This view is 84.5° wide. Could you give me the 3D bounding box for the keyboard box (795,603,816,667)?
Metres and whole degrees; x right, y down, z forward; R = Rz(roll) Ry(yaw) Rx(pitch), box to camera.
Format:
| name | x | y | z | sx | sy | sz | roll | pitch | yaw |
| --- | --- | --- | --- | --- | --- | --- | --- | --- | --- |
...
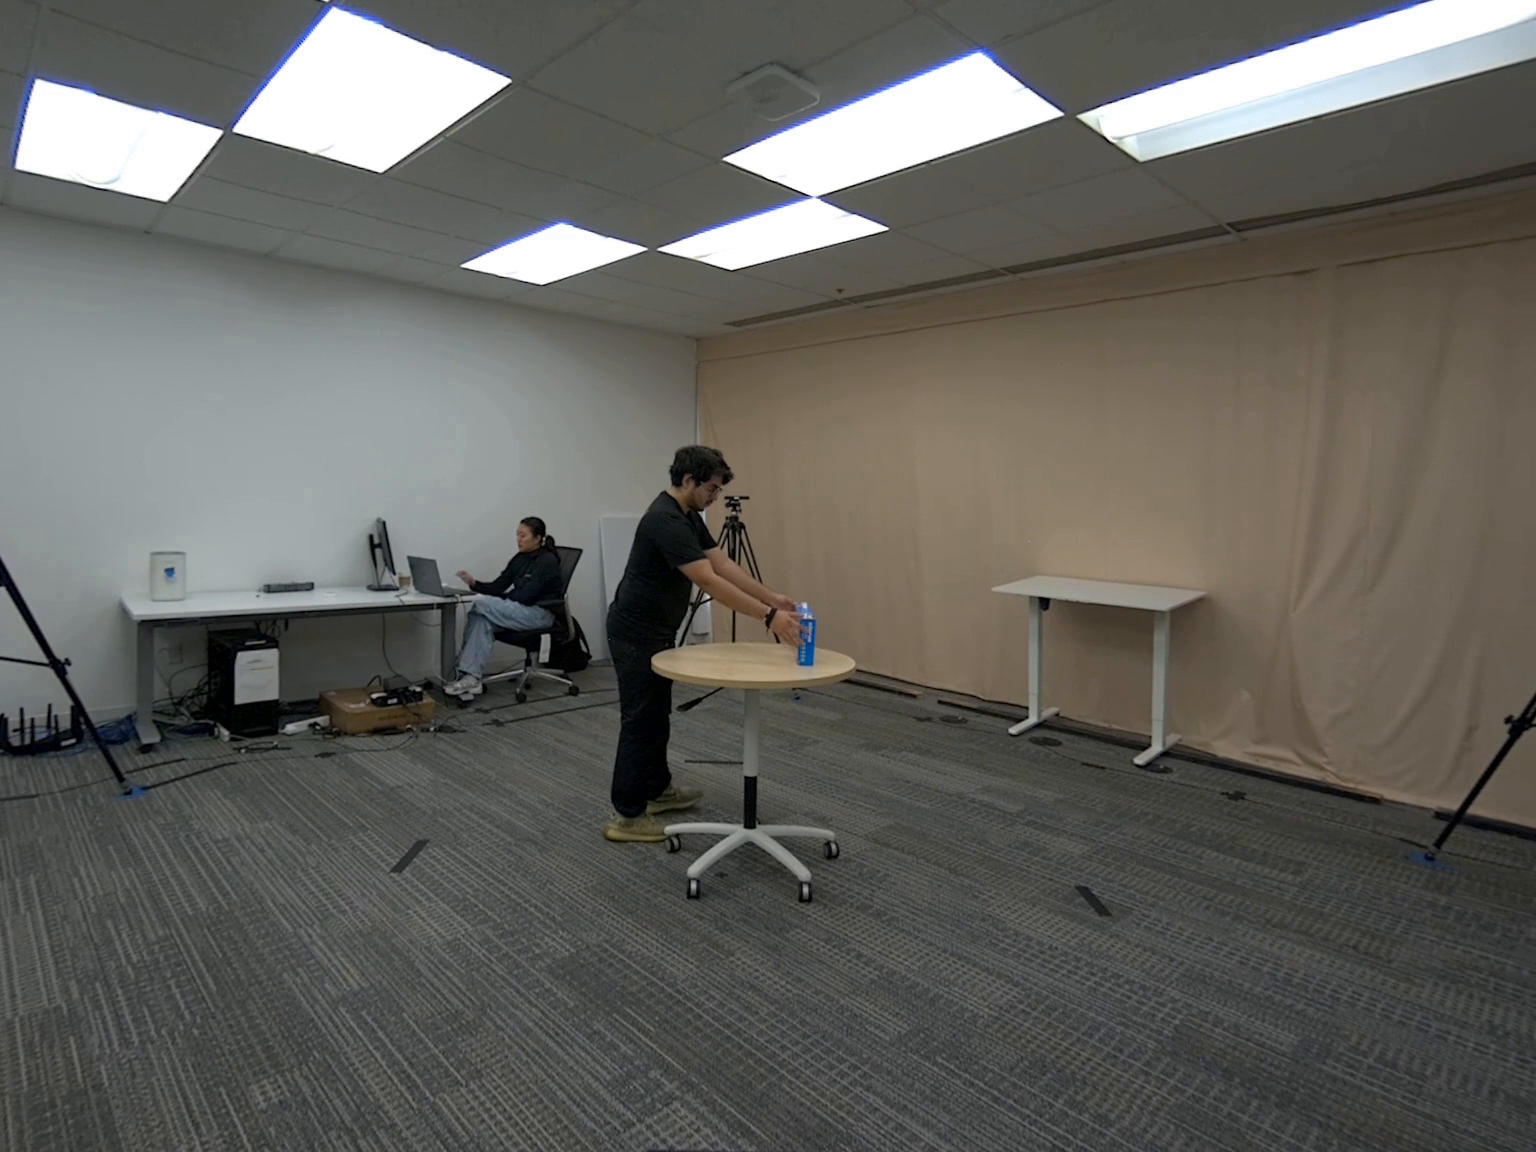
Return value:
| name | x | y | z | sx | sy | sz | roll | pitch | yaw |
| --- | --- | --- | --- | --- | --- | --- | --- | --- | --- |
| keyboard box | 0.130 | 0.220 | 3.286 | 0.059 | 0.175 | 0.438 | 4 | 5 | -2 |
